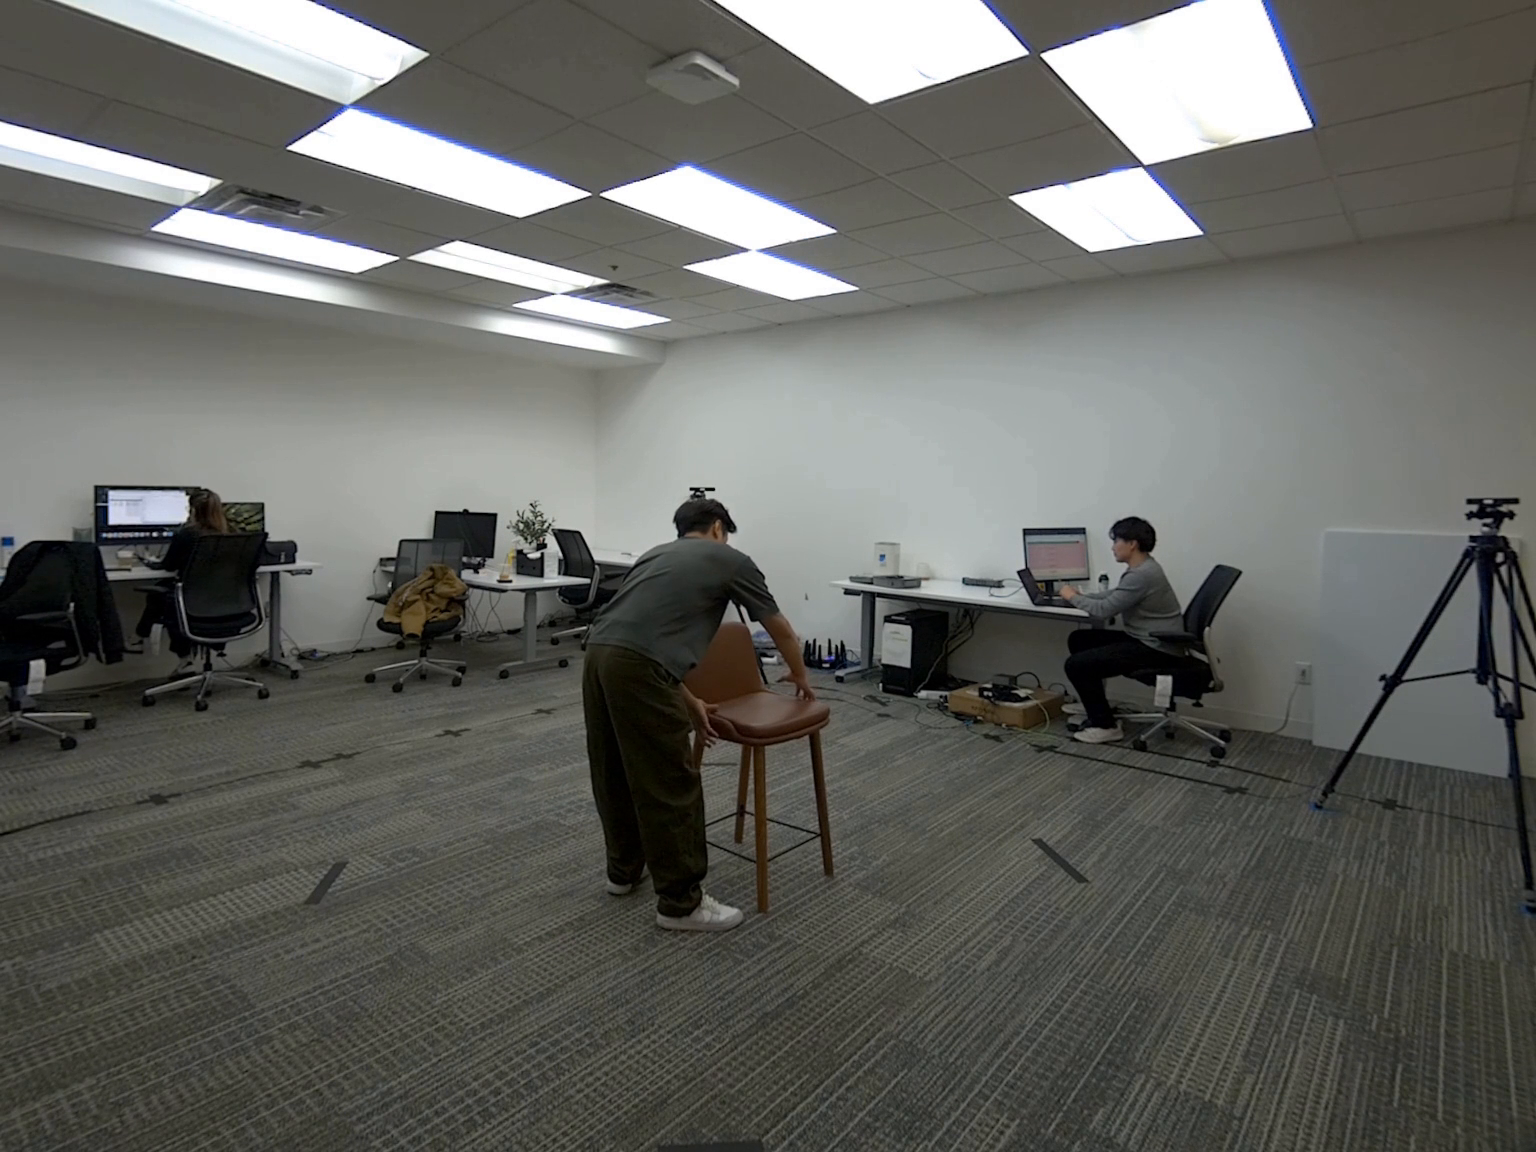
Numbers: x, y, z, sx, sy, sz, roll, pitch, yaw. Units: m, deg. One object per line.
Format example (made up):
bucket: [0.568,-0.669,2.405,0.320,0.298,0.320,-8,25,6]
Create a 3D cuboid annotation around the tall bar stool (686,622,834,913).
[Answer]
tall bar stool: [-0.060,0.638,3.071,0.483,0.888,0.442,2,3,40]
